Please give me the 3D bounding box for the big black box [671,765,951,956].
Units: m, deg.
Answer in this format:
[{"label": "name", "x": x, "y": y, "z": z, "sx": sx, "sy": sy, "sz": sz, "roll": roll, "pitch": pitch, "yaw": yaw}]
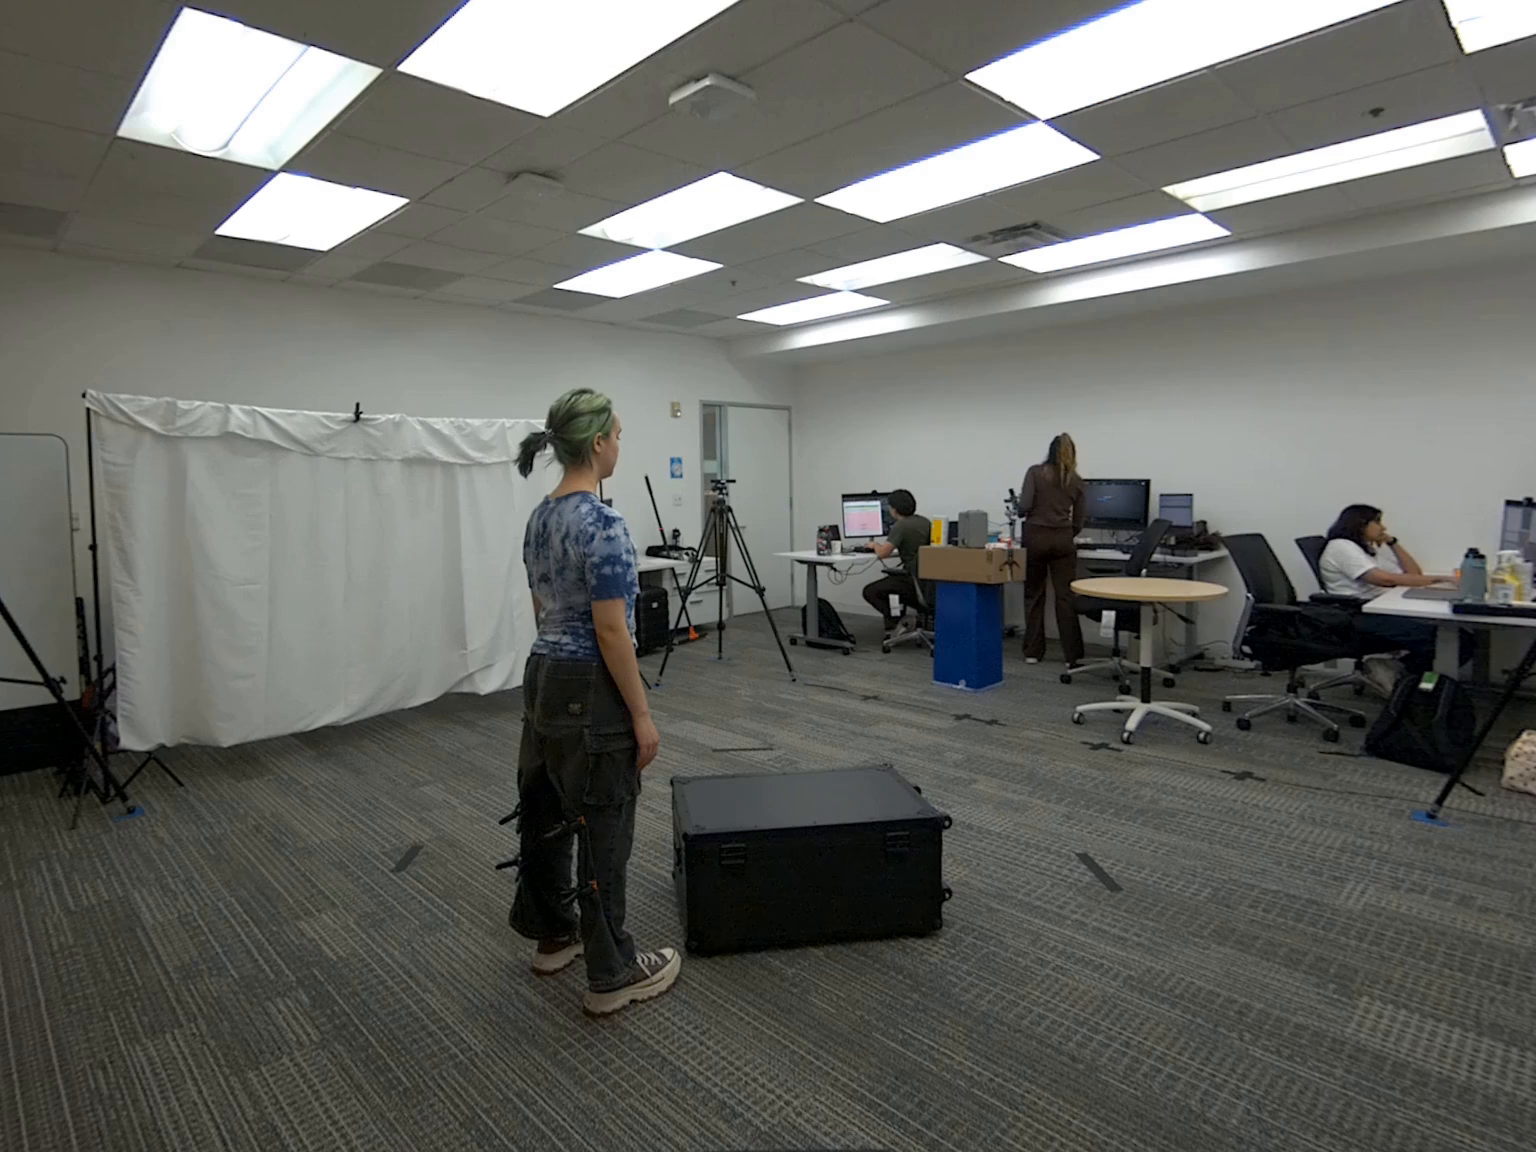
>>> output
[{"label": "big black box", "x": 0.069, "y": 0.892, "z": 2.764, "sx": 0.855, "sy": 0.394, "sz": 0.528, "roll": -2, "pitch": 5, "yaw": -9}]
